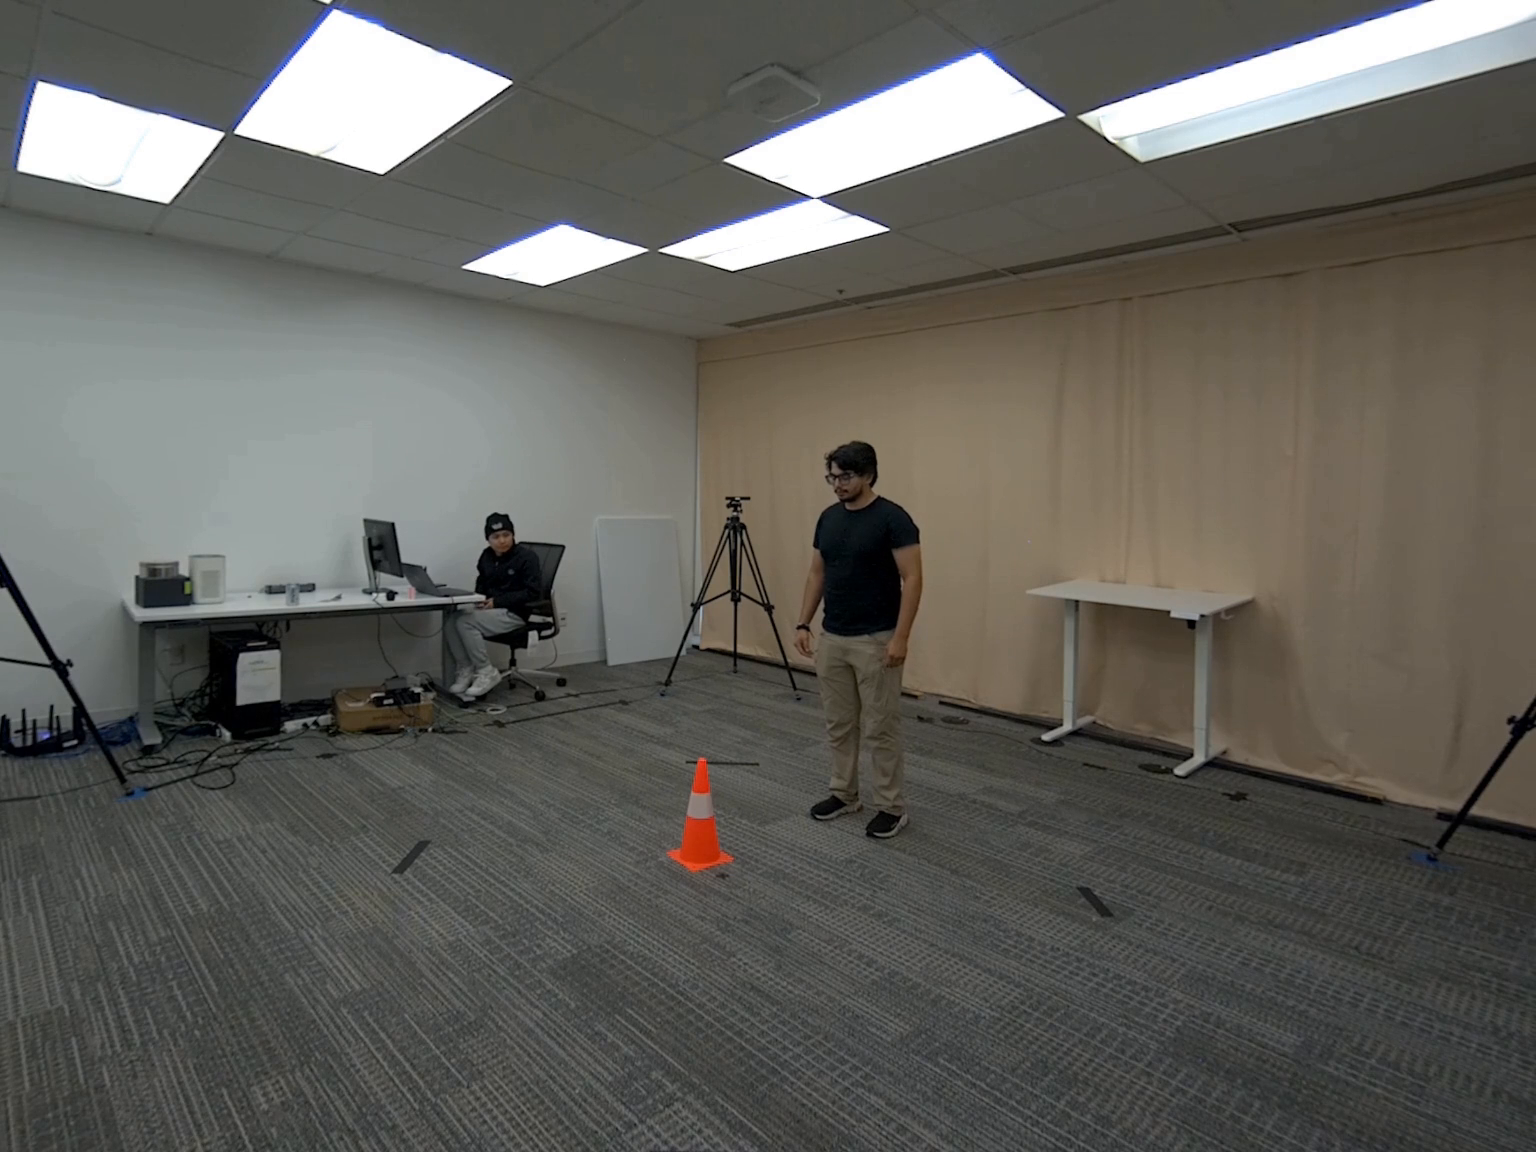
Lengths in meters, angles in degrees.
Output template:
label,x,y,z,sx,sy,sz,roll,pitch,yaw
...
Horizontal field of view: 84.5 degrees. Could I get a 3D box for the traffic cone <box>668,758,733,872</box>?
label,x,y,z,sx,sy,sz,roll,pitch,yaw
traffic cone,-0.267,0.905,3.262,0.200,0.383,0.208,0,3,-36
